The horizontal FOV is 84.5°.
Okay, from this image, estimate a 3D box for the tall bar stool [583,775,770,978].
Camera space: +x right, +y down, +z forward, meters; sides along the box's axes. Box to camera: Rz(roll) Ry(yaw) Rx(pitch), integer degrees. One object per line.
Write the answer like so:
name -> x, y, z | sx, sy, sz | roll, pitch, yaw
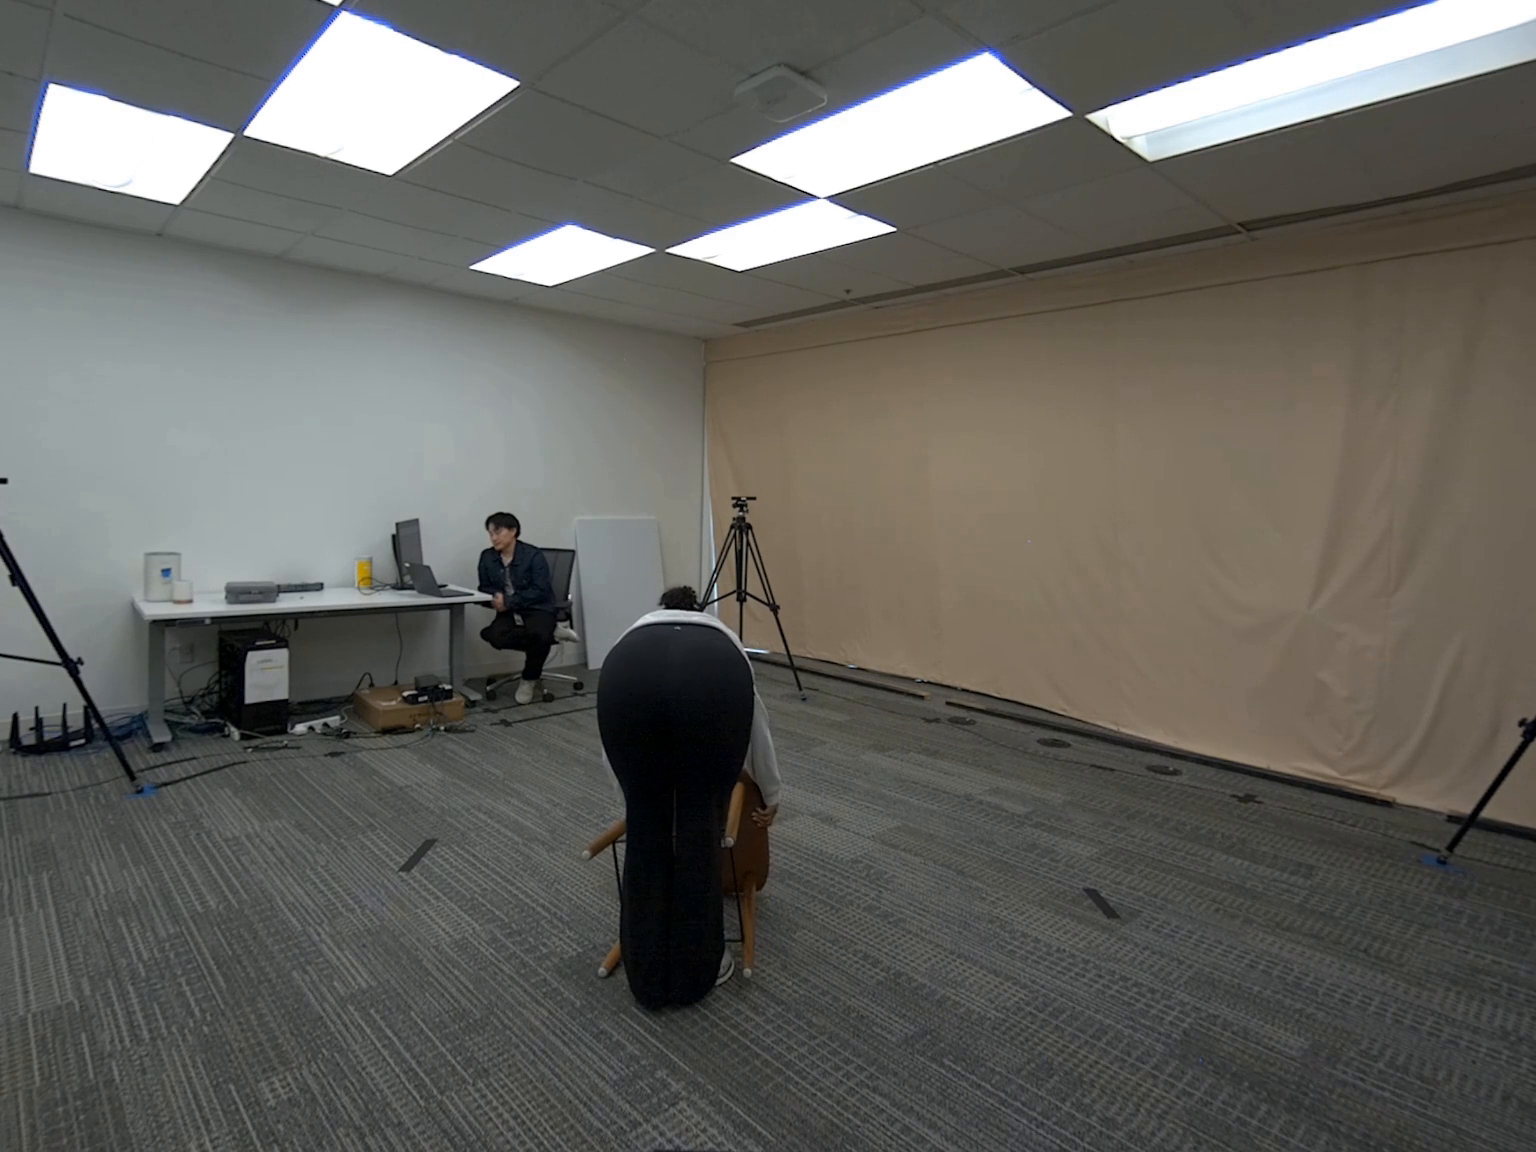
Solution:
tall bar stool -> -0.246, 0.907, 2.807 | 0.470, 0.455, 0.888 | -6, 5, 6
